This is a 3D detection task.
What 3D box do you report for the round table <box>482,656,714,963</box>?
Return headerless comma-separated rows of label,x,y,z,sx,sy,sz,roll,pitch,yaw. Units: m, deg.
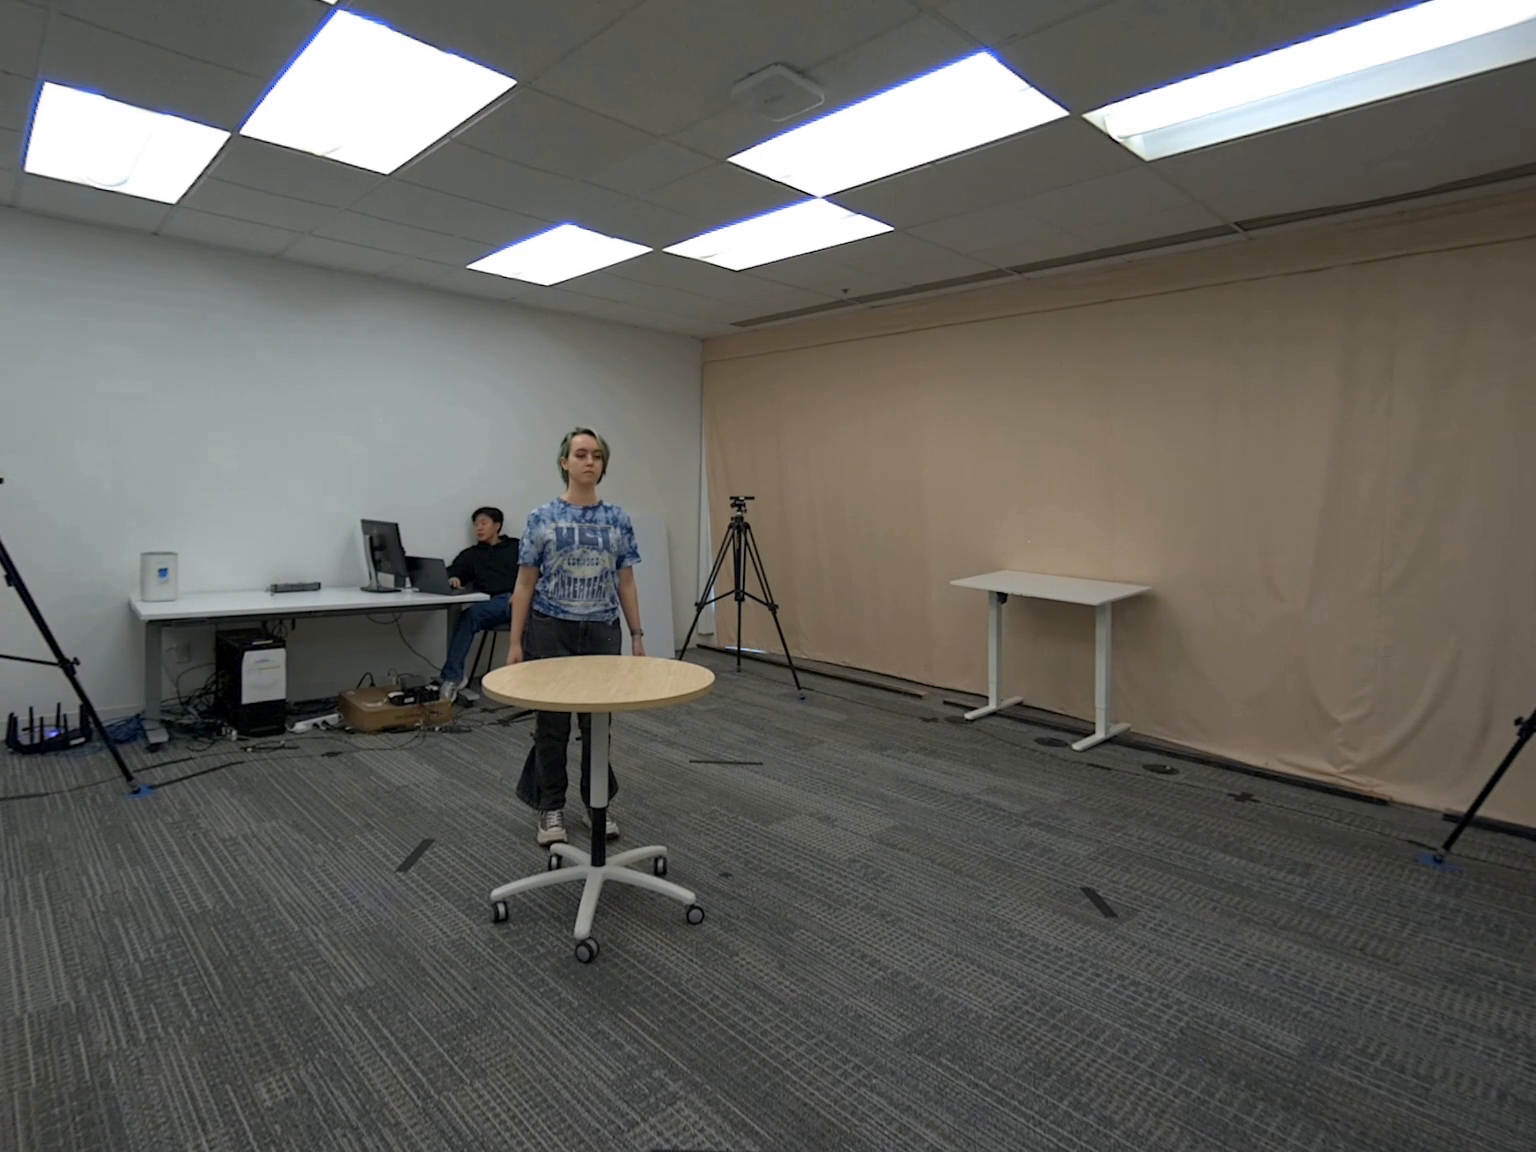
round table,-0.564,0.730,2.833,0.763,0.792,0.766,1,4,-1
